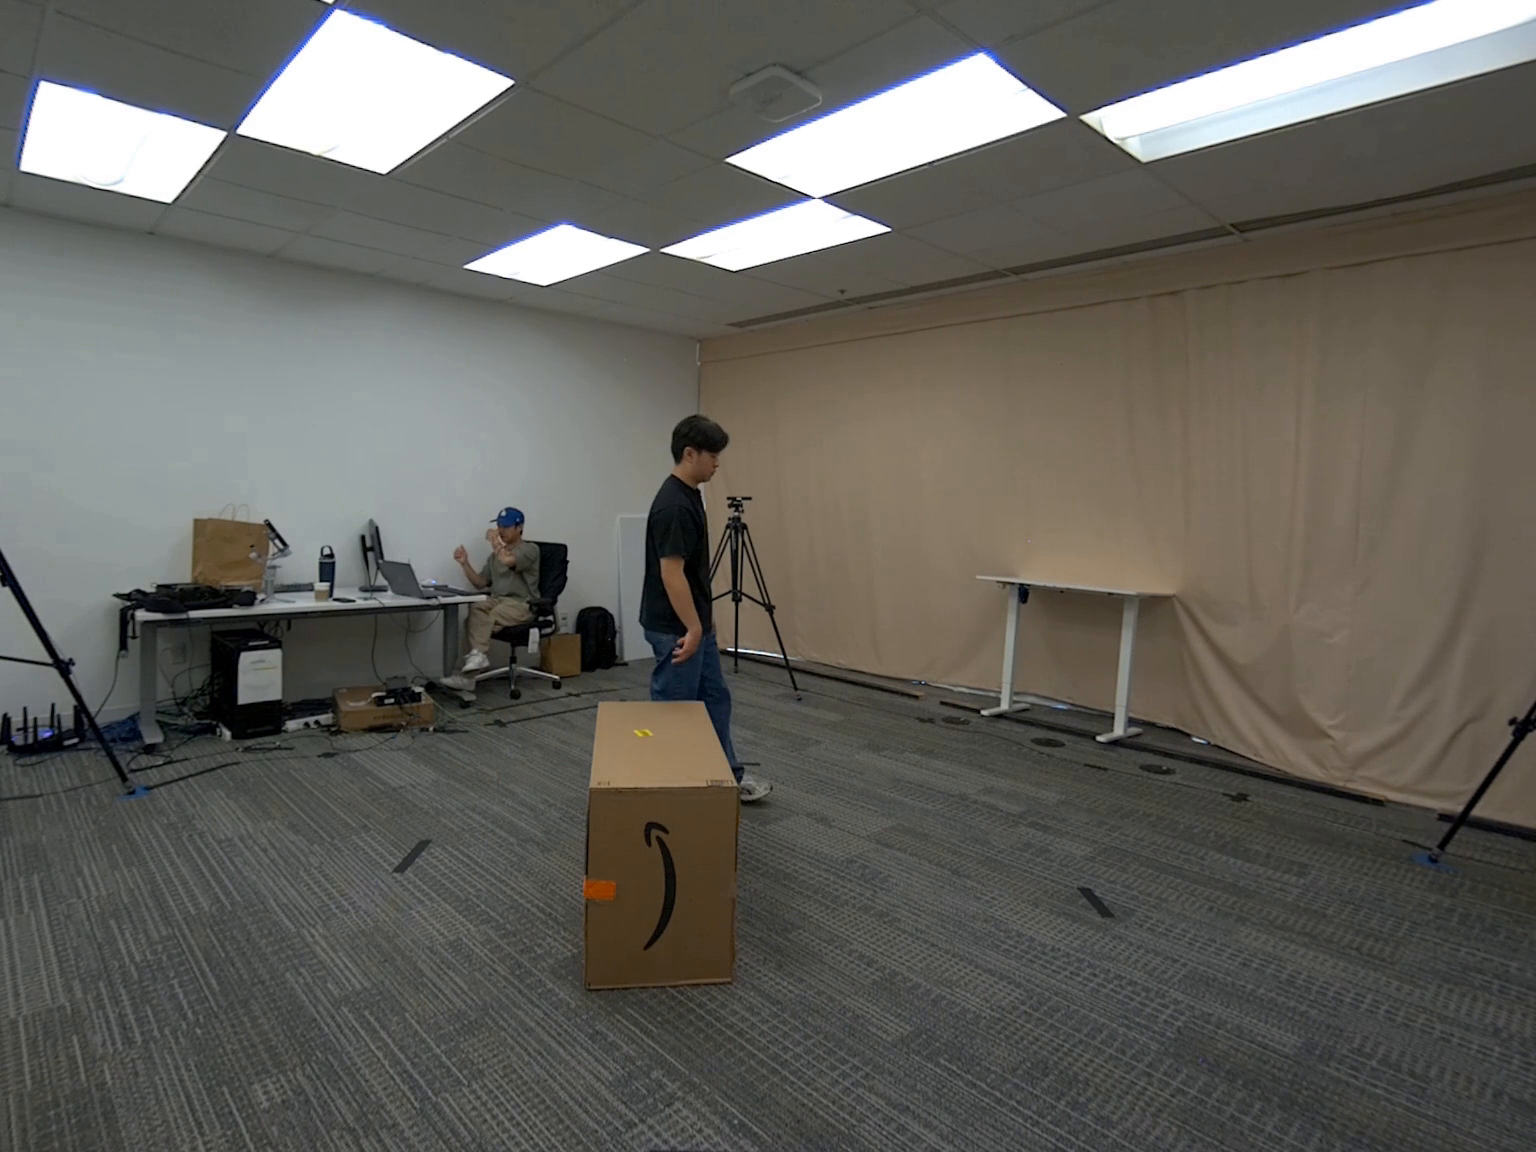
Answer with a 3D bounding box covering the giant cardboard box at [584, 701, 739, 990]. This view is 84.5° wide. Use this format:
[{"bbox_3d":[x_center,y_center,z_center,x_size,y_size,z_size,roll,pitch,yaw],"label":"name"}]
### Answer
[{"bbox_3d":[-0.396,0.836,2.877,0.443,0.582,1.037,0,4,-10],"label":"giant cardboard box"}]
